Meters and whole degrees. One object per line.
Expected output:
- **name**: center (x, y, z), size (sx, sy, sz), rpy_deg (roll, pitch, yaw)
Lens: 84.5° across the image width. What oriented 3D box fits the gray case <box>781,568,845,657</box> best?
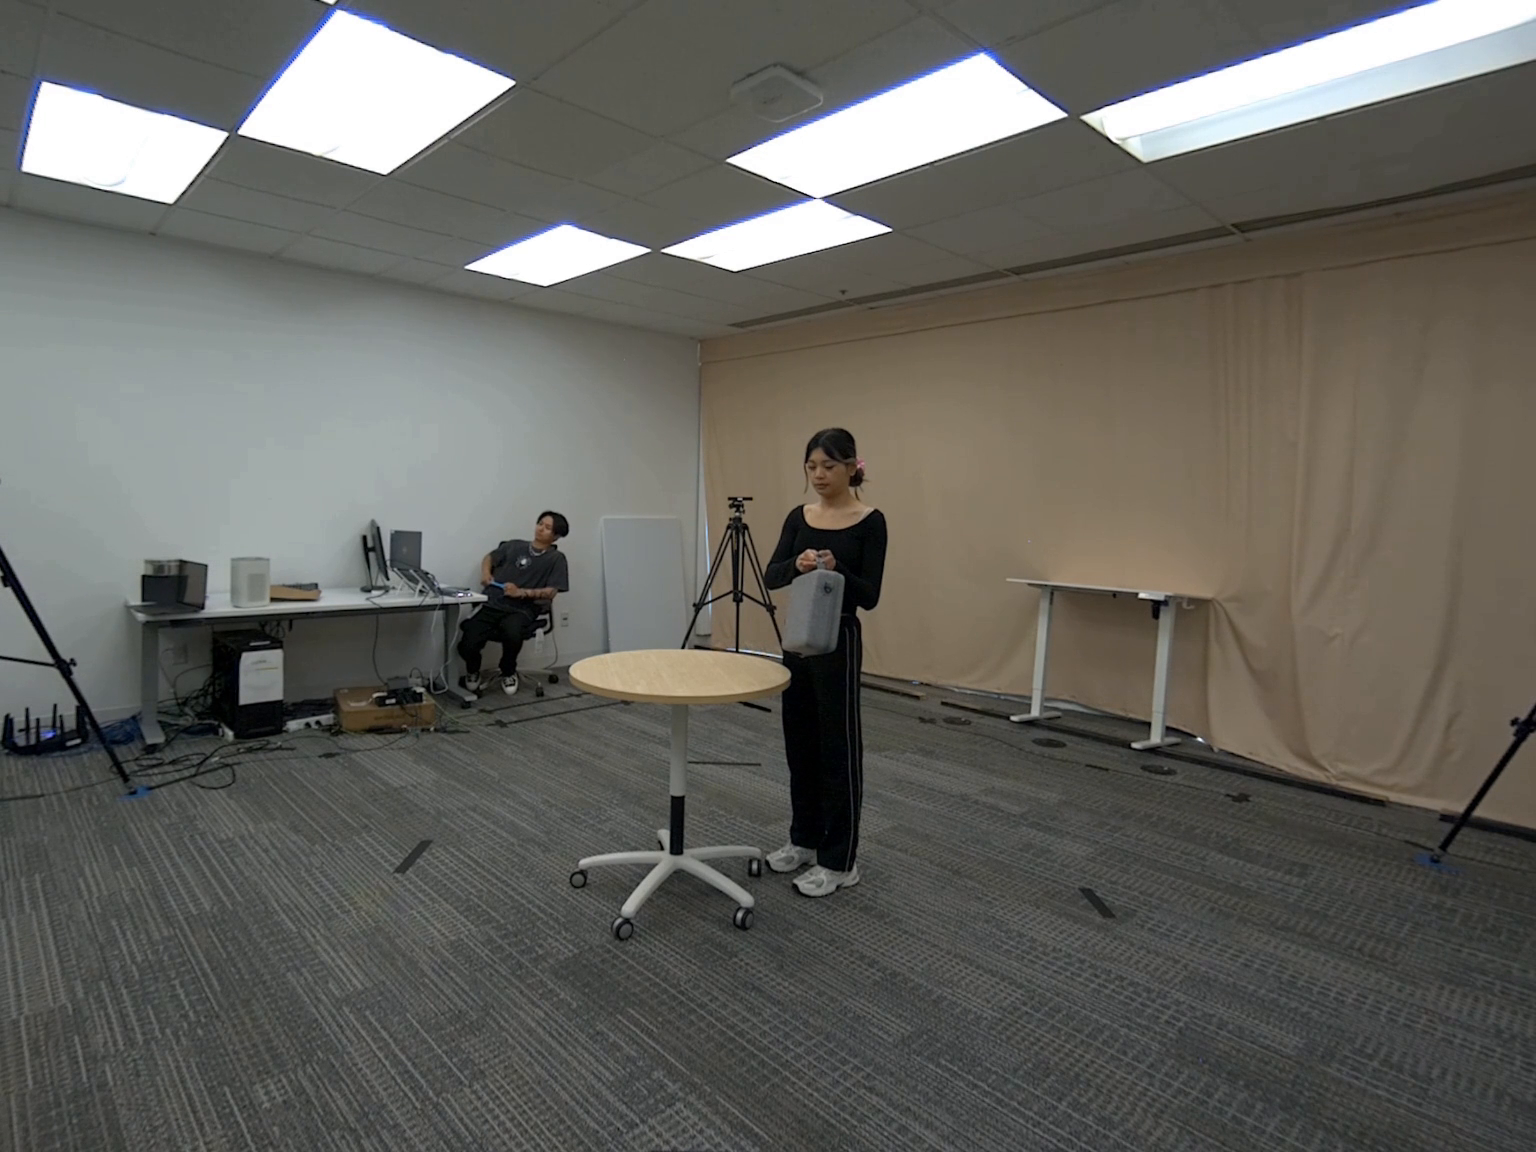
- **gray case**: center (0.137, 0.119, 2.667), size (0.103, 0.263, 0.258), rpy_deg (11, -13, -15)
